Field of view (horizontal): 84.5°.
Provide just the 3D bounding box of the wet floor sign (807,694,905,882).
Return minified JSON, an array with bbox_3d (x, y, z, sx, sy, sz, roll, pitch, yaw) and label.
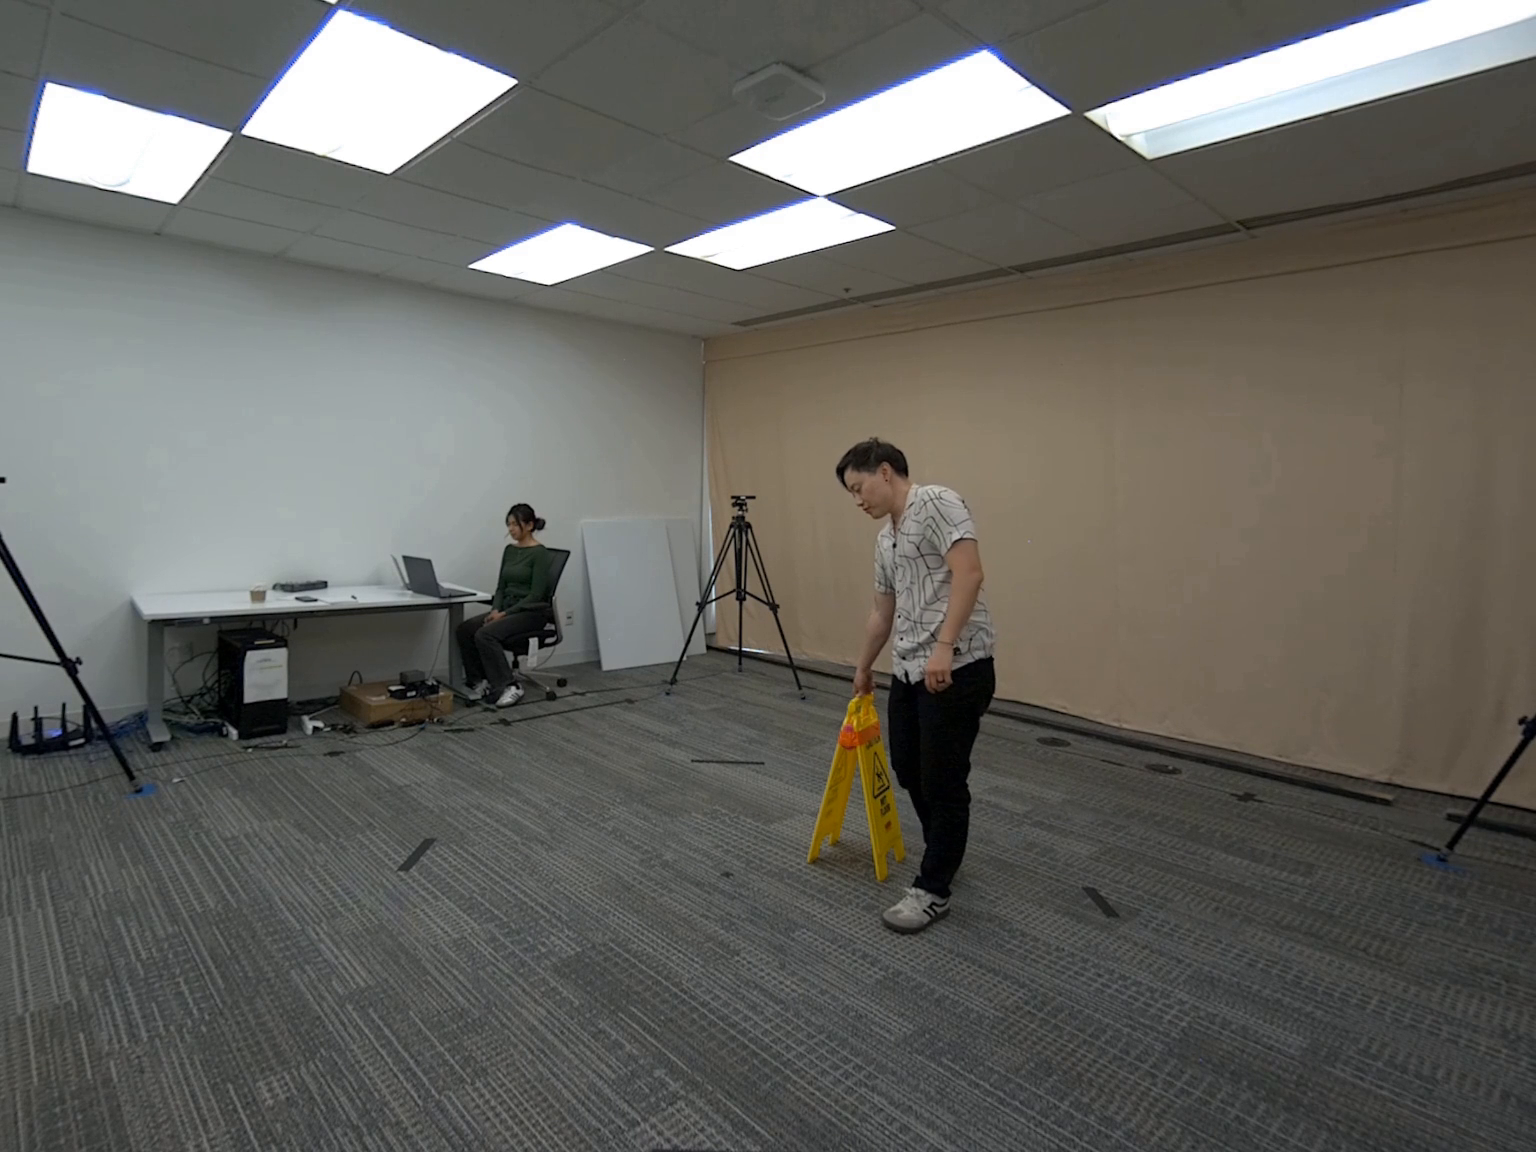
[{"bbox_3d":[0.340,0.777,3.243,0.296,0.645,0.277,2,2,29],"label":"wet floor sign"}]
